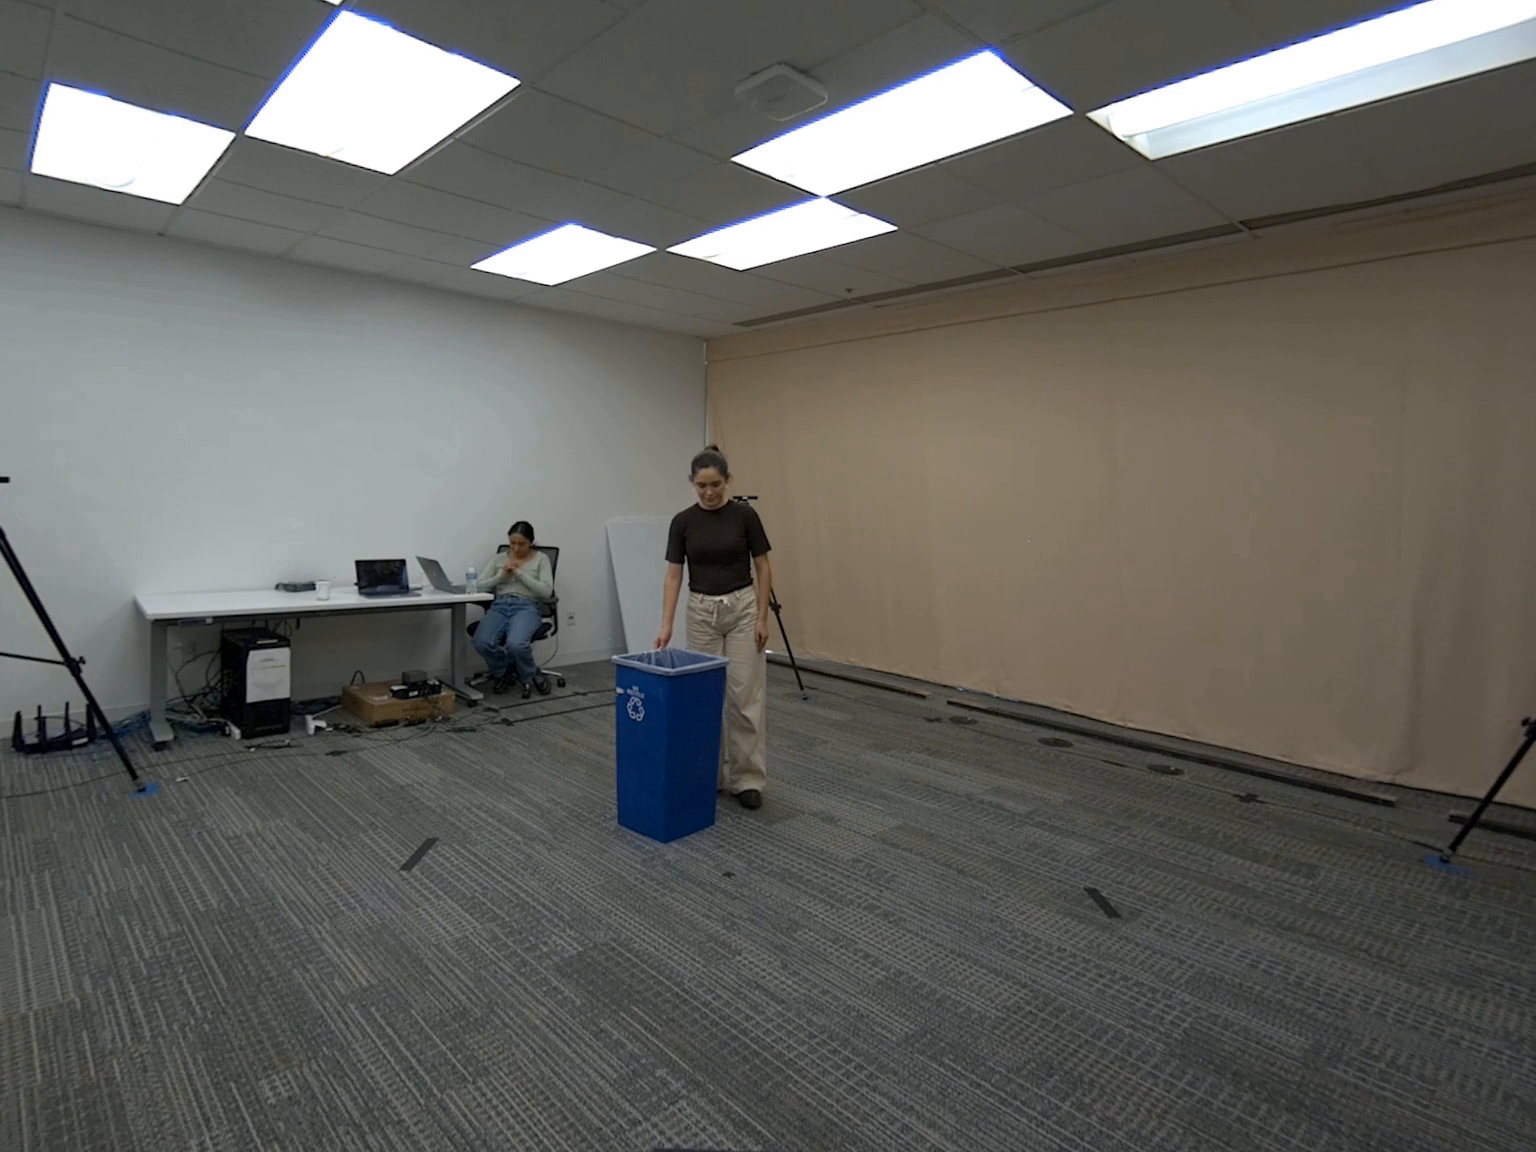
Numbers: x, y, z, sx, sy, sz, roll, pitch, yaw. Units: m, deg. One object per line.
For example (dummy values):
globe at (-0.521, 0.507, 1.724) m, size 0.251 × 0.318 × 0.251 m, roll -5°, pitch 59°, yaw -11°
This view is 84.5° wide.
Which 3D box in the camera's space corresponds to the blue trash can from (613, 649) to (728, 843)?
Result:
blue trash can at (-0.423, 0.696, 3.553) m, size 0.383 × 0.712 × 0.369 m, roll 4°, pitch 5°, yaw 41°
